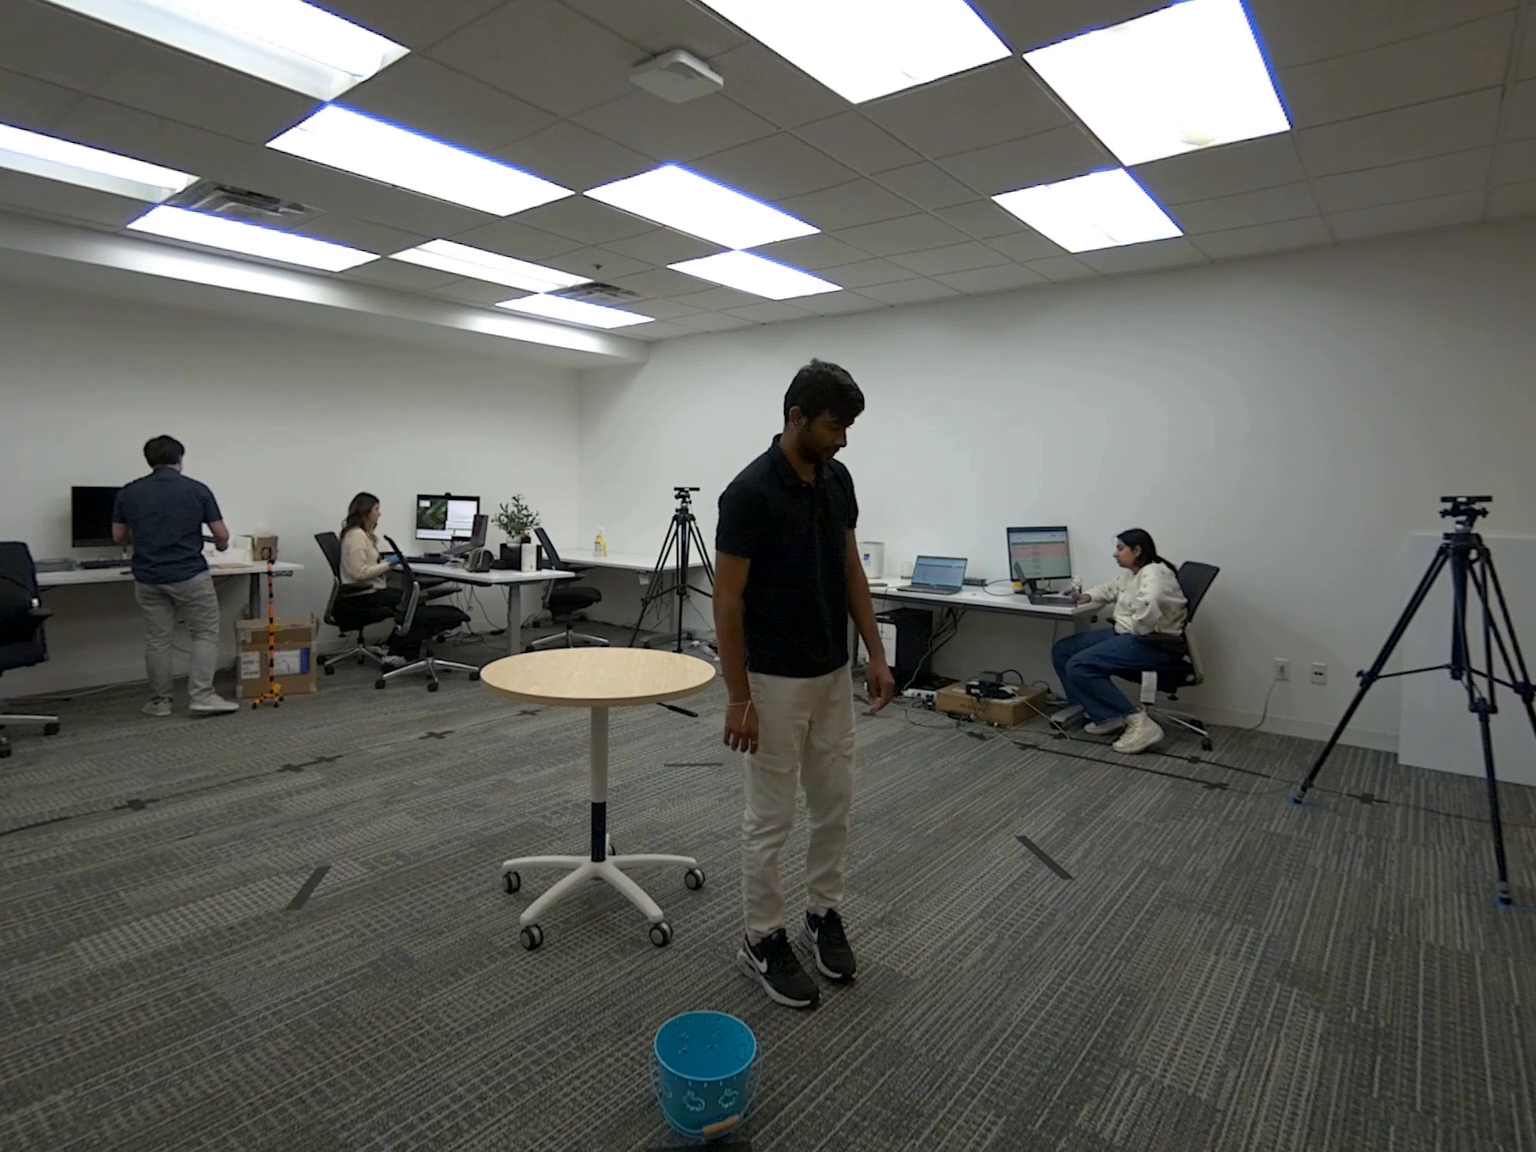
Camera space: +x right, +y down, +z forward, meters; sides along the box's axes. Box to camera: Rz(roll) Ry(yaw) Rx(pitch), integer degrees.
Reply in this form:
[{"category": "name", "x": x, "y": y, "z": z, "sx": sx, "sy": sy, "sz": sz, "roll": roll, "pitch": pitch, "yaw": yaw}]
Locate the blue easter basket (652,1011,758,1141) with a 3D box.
[{"category": "blue easter basket", "x": -0.150, "y": 1.113, "z": 1.901, "sx": 0.243, "sy": 0.155, "sz": 0.245, "roll": 1, "pitch": 5, "yaw": -2}]
